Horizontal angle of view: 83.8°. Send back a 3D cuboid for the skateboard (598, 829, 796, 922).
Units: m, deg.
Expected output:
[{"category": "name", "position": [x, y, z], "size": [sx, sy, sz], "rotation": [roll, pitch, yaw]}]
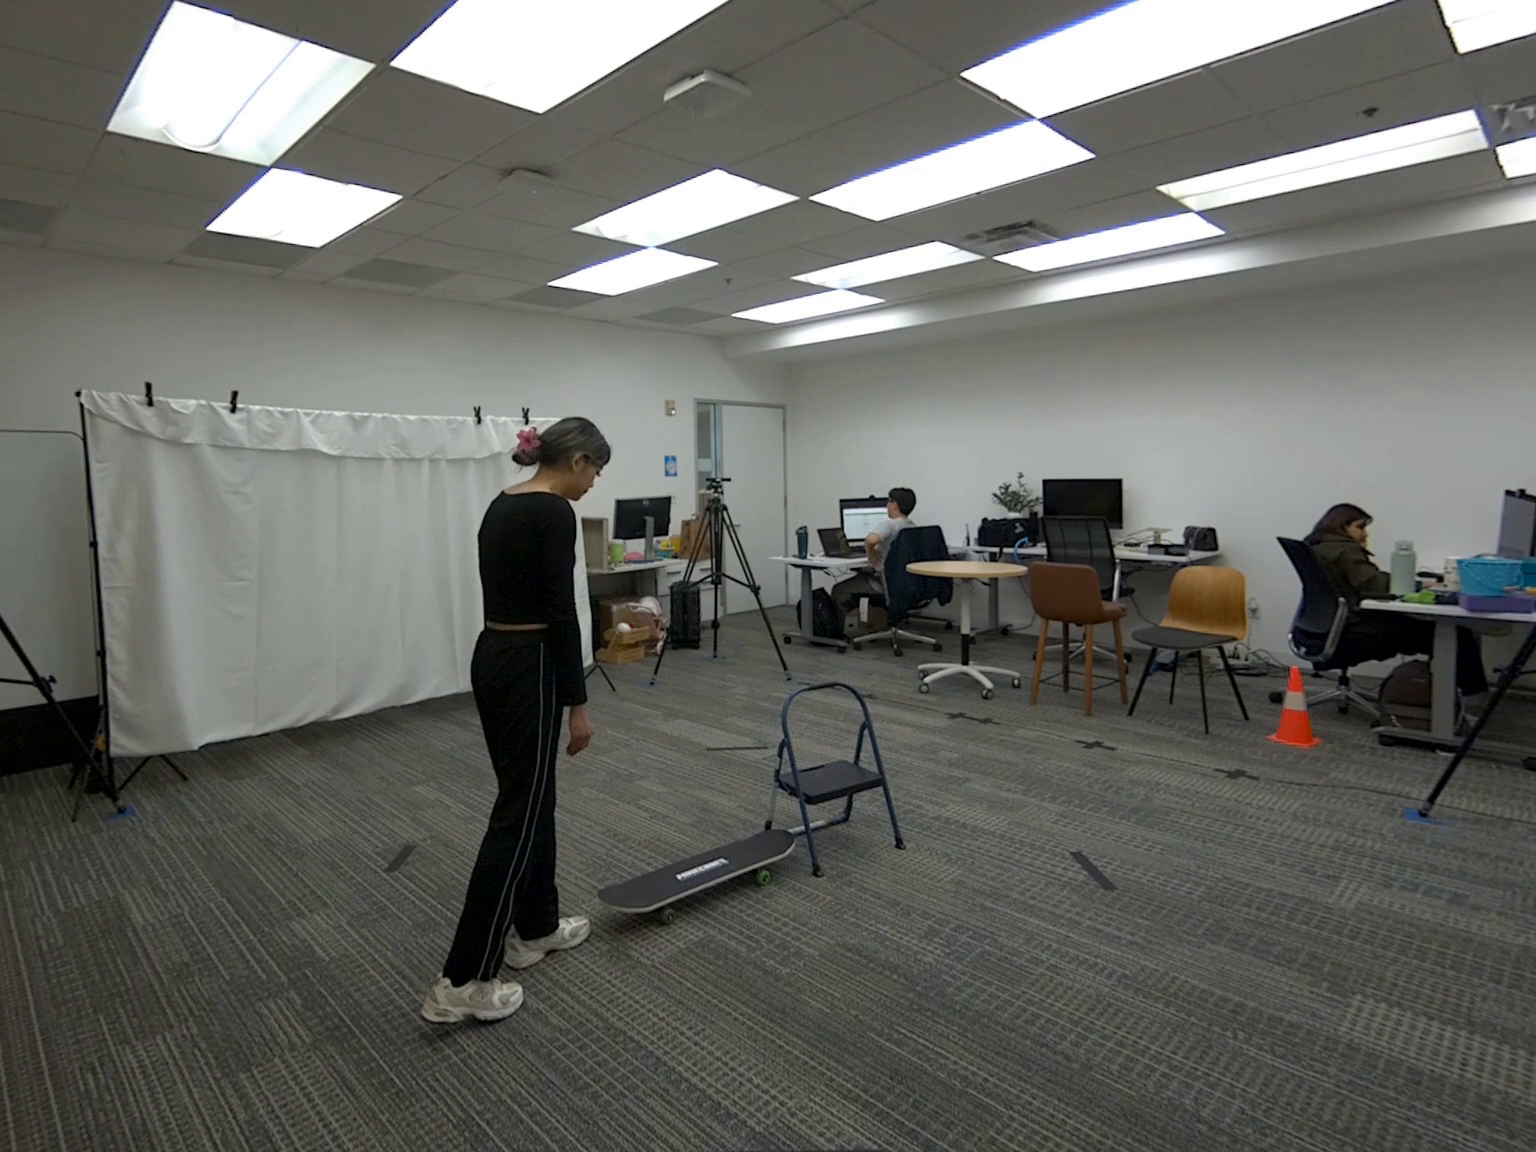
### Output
[{"category": "skateboard", "position": [-0.217, 1.018, 2.866], "size": [0.765, 0.110, 0.199], "rotation": [-6, 7, -39]}]
